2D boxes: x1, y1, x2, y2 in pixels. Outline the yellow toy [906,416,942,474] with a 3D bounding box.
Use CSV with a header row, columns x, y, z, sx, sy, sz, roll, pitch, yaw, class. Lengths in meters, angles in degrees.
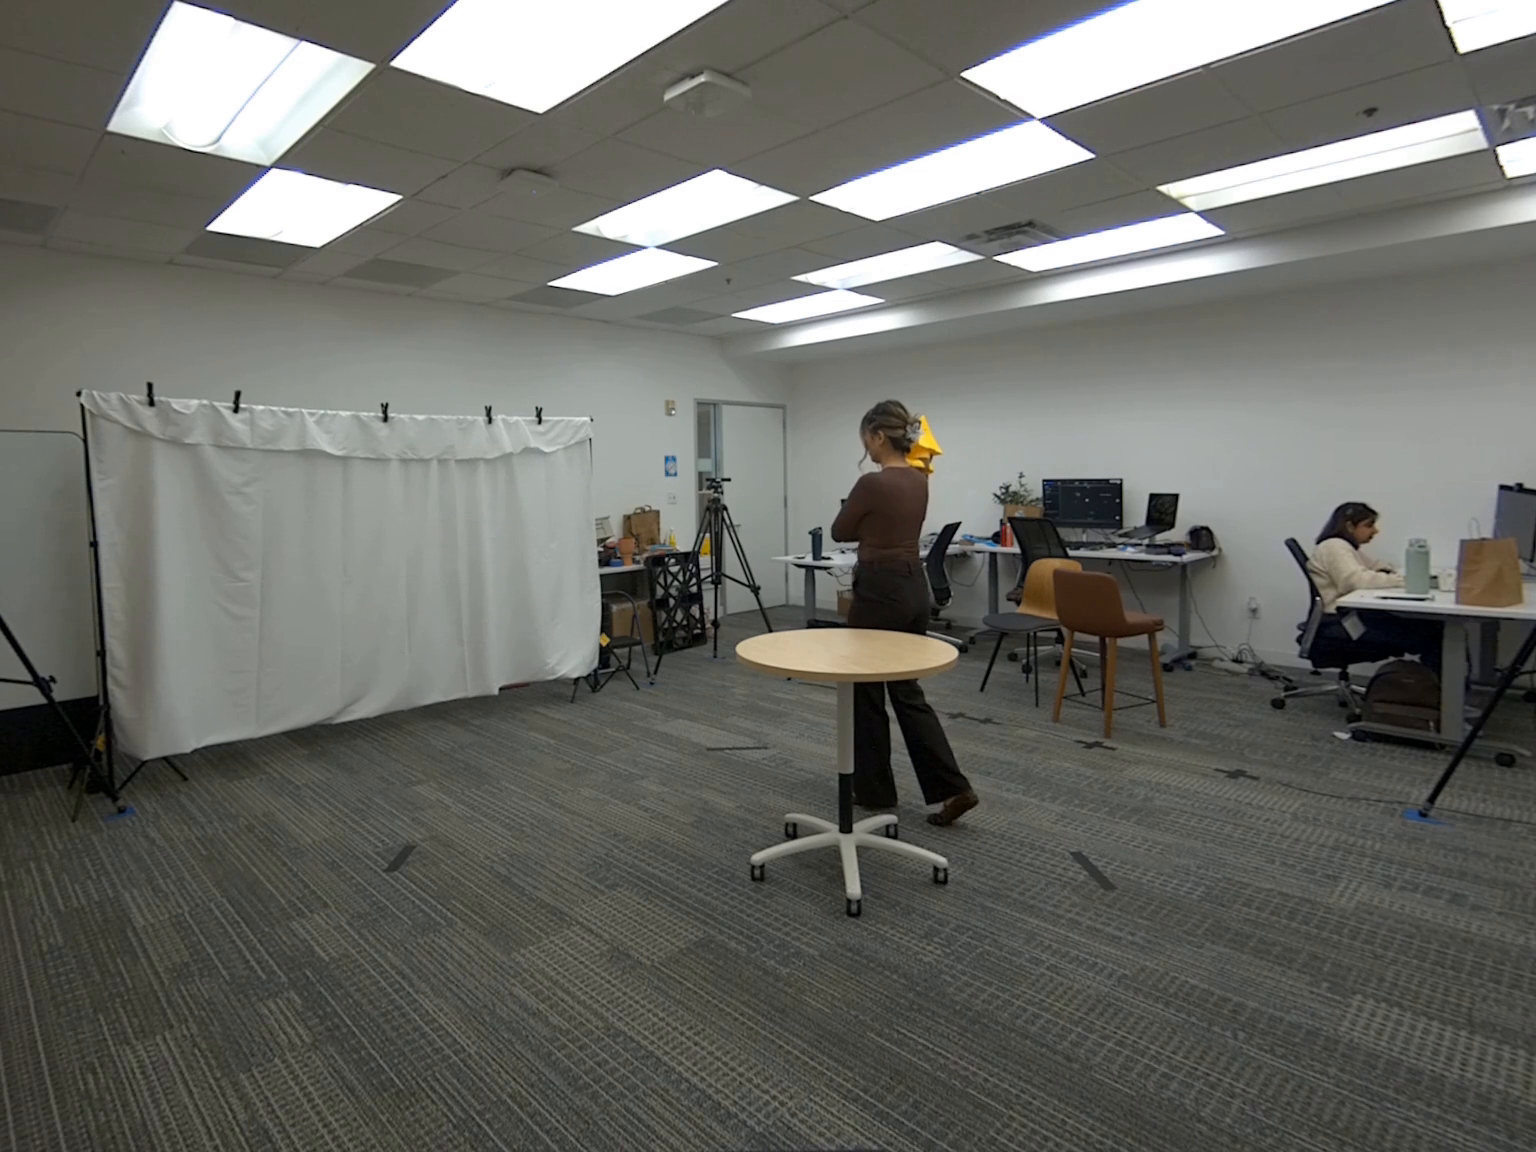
x,y,z,sx,sy,sz,roll,pitch,yaw,class
0.616,-0.557,3.604,0.198,0.232,0.198,-7,-10,37,yellow toy
